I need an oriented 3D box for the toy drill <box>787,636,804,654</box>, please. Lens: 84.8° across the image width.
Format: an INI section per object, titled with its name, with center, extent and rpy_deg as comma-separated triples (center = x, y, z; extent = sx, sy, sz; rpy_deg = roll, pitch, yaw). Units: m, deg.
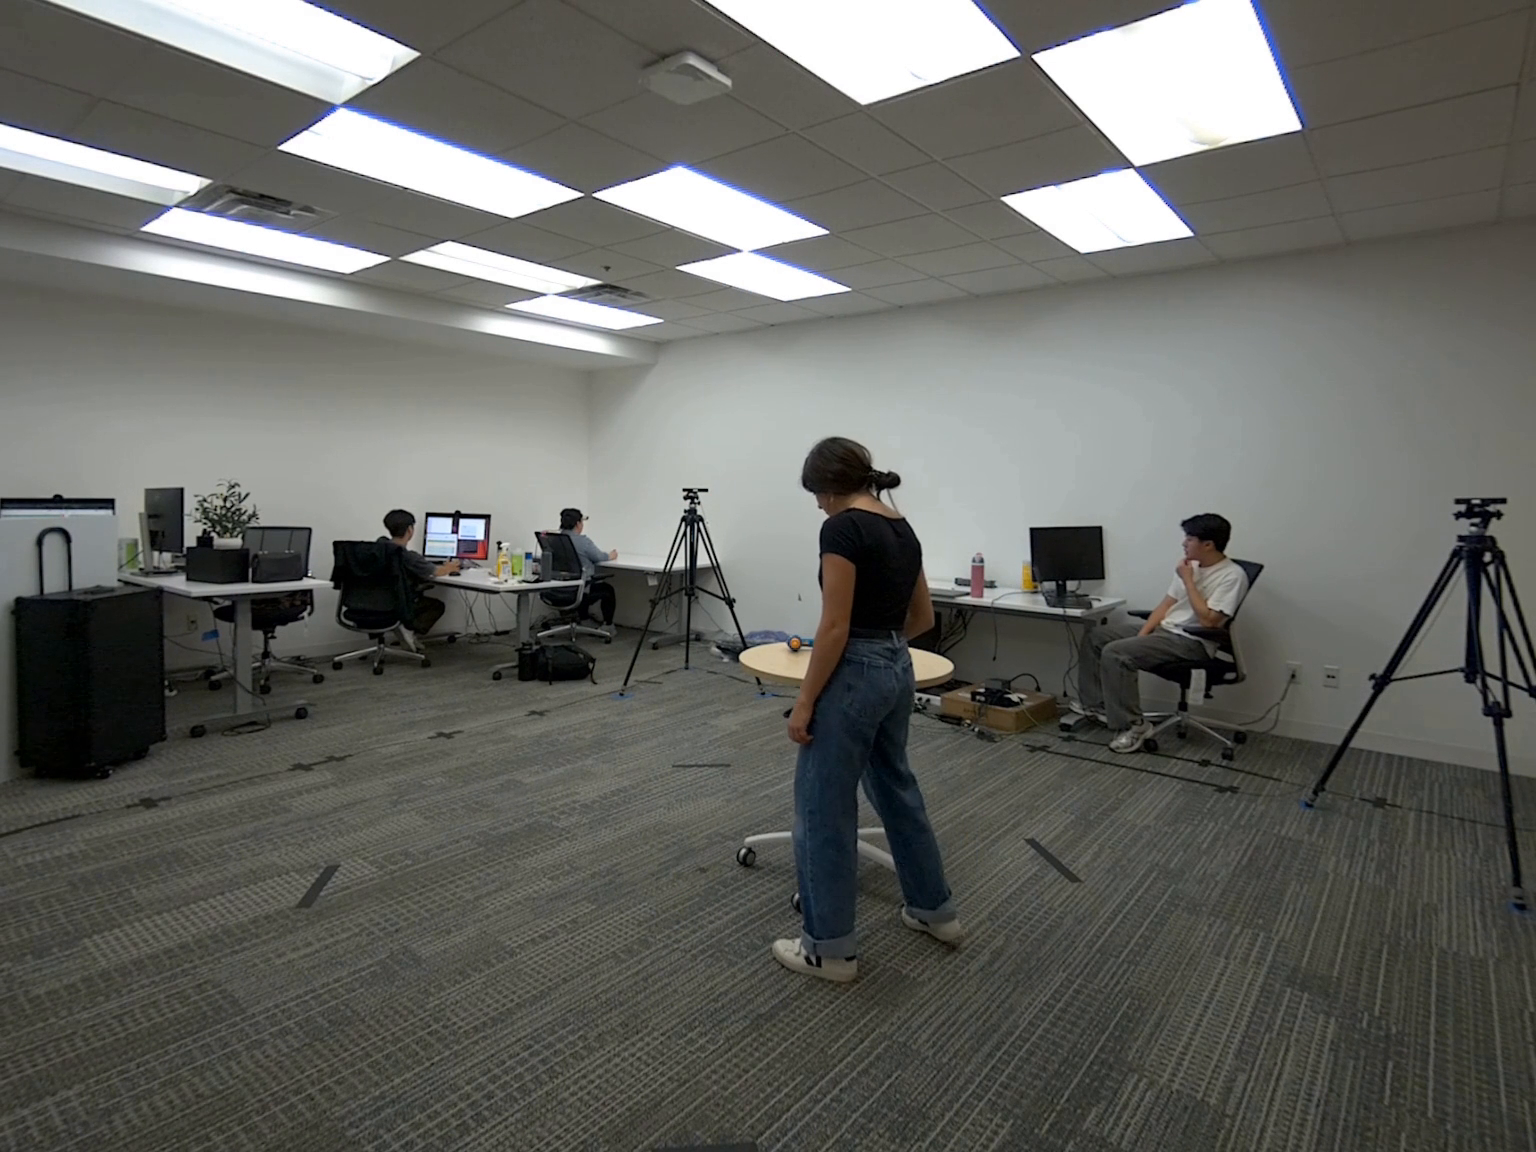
[toy drill]
center = 0.140, 0.246, 3.223
extent = 0.146, 0.061, 0.168
rpy_deg = 2, -3, 2
